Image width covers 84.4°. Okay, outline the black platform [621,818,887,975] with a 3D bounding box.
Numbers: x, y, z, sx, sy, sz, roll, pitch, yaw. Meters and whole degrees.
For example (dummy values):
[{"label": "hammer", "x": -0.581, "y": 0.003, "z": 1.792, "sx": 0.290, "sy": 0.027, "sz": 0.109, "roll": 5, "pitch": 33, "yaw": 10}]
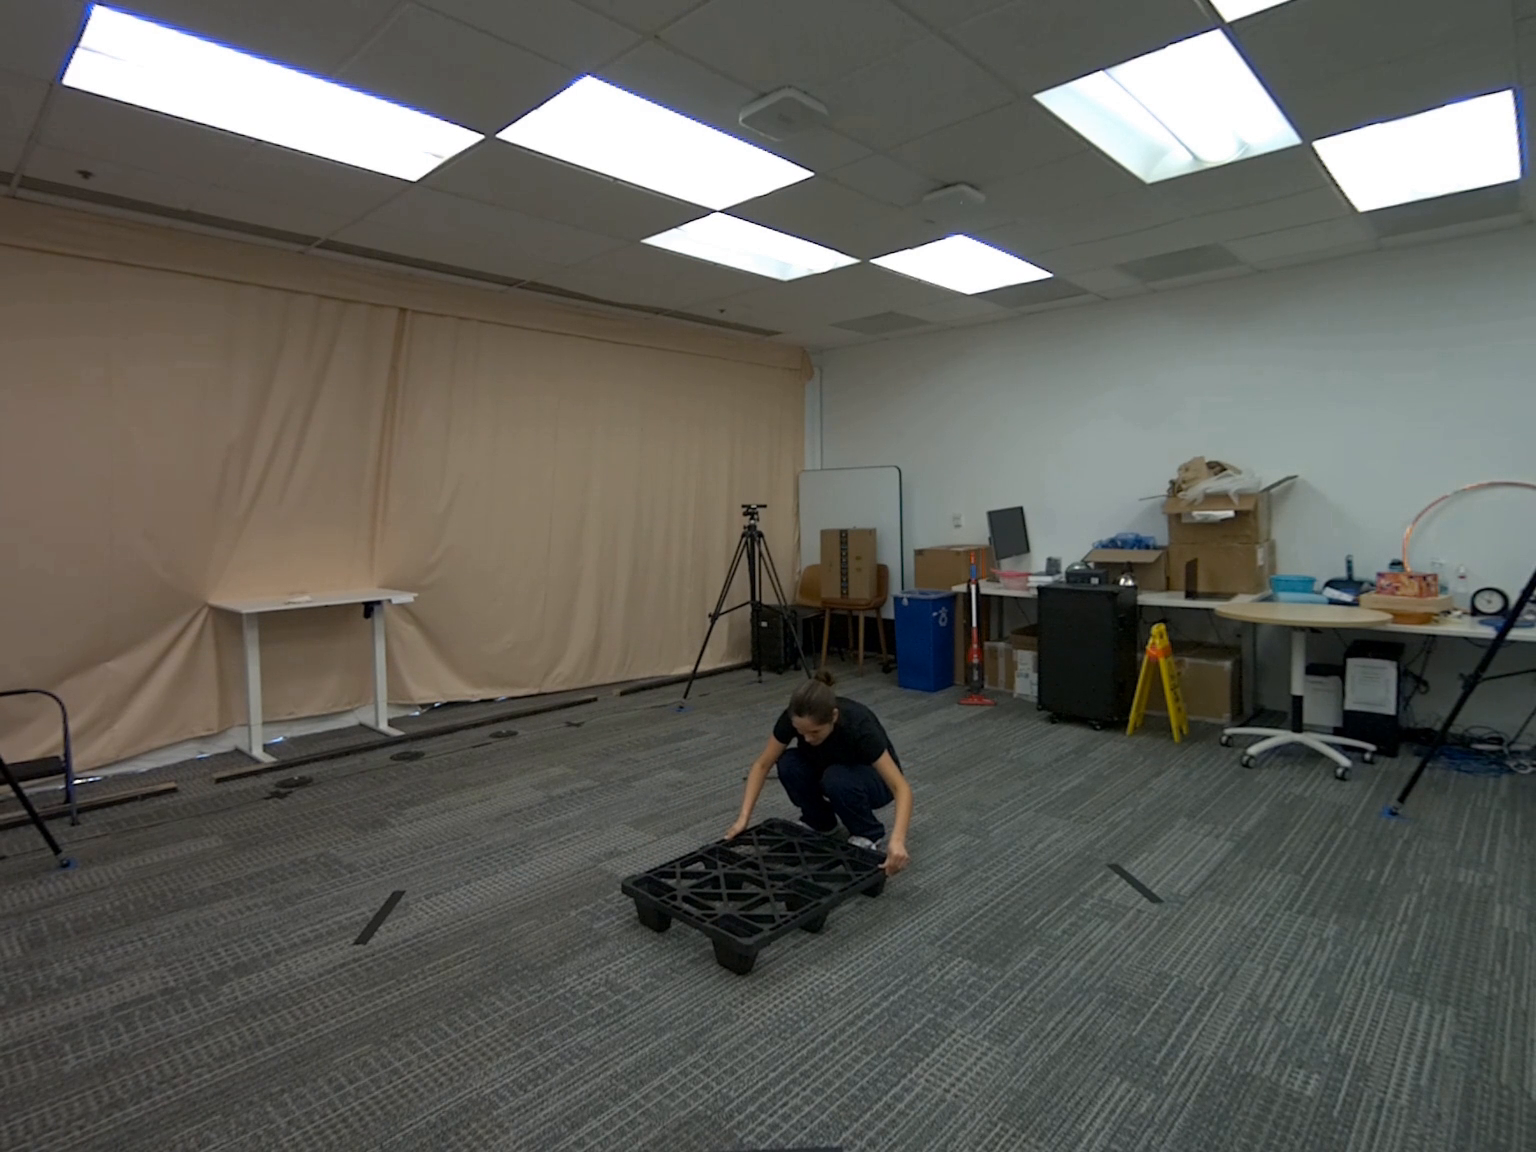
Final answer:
[{"label": "black platform", "x": -0.007, "y": 1.082, "z": 2.903, "sx": 0.625, "sy": 0.143, "sz": 0.781, "roll": 3, "pitch": 6, "yaw": 43}]
